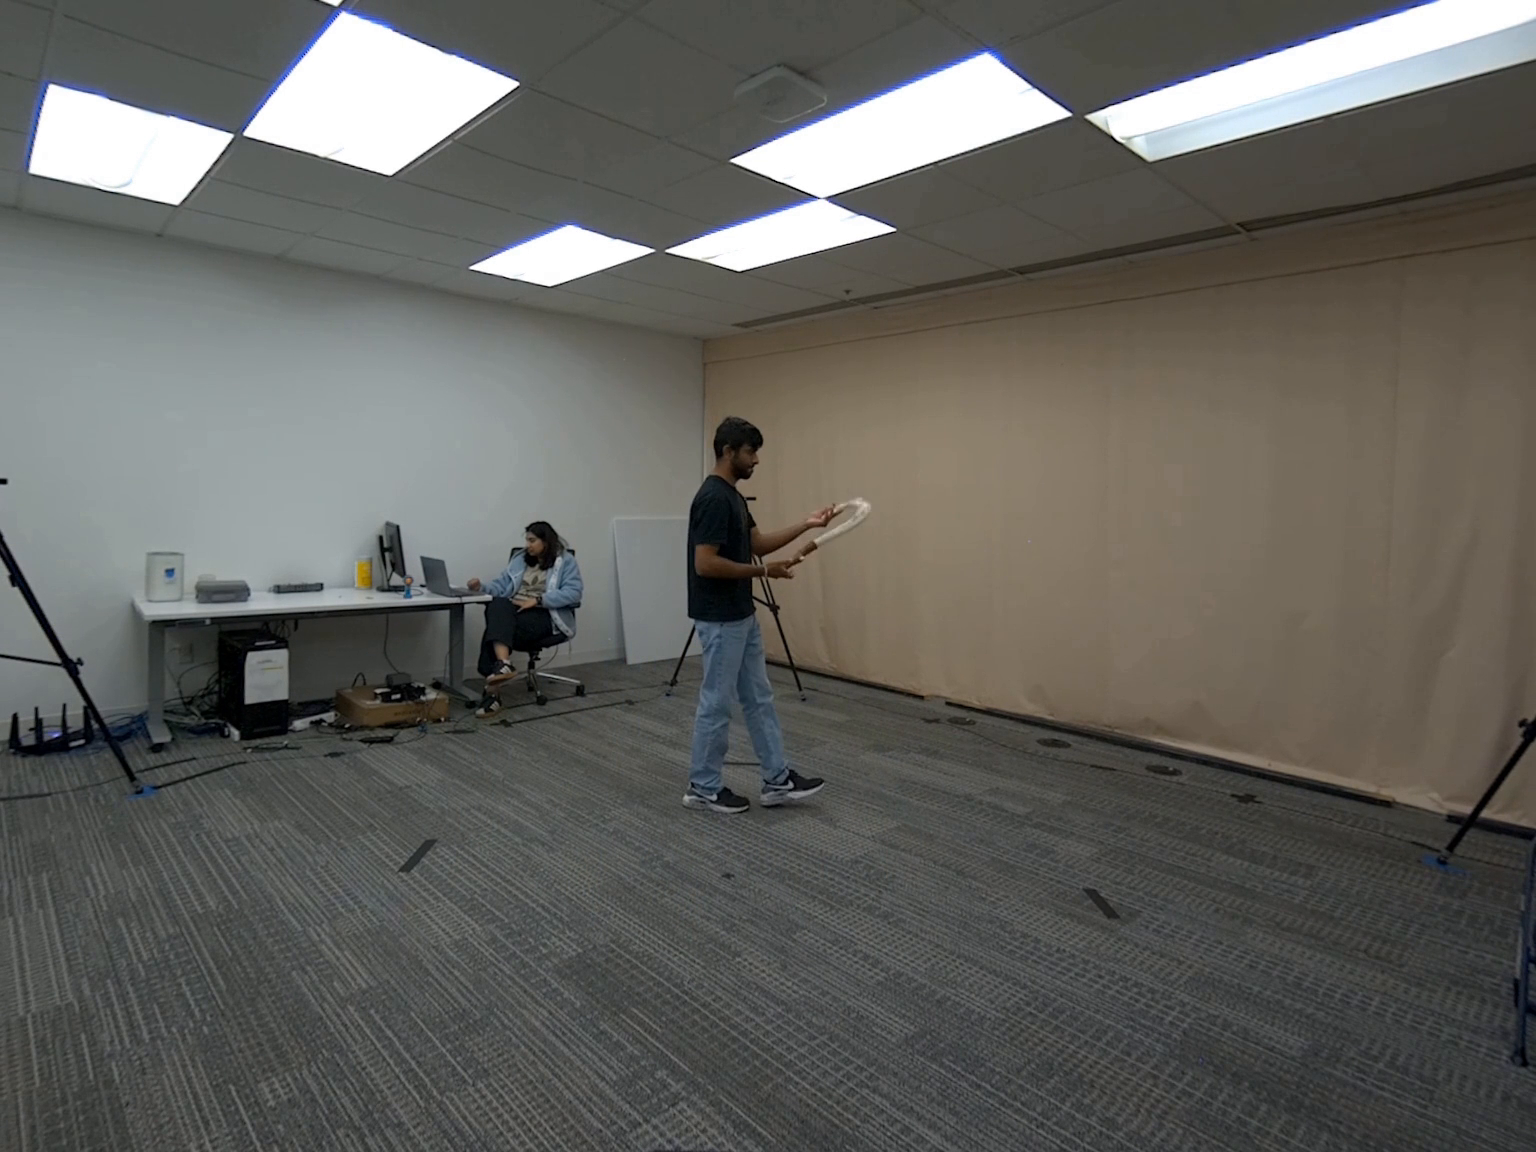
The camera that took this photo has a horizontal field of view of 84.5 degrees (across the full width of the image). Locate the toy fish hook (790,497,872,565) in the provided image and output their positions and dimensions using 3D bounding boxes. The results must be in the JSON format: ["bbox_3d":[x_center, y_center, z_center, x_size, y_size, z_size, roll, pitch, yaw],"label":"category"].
[{"bbox_3d":[0.208,-0.181,3.709,0.506,0.047,0.230,-35,26,-7],"label":"toy fish hook"}]
